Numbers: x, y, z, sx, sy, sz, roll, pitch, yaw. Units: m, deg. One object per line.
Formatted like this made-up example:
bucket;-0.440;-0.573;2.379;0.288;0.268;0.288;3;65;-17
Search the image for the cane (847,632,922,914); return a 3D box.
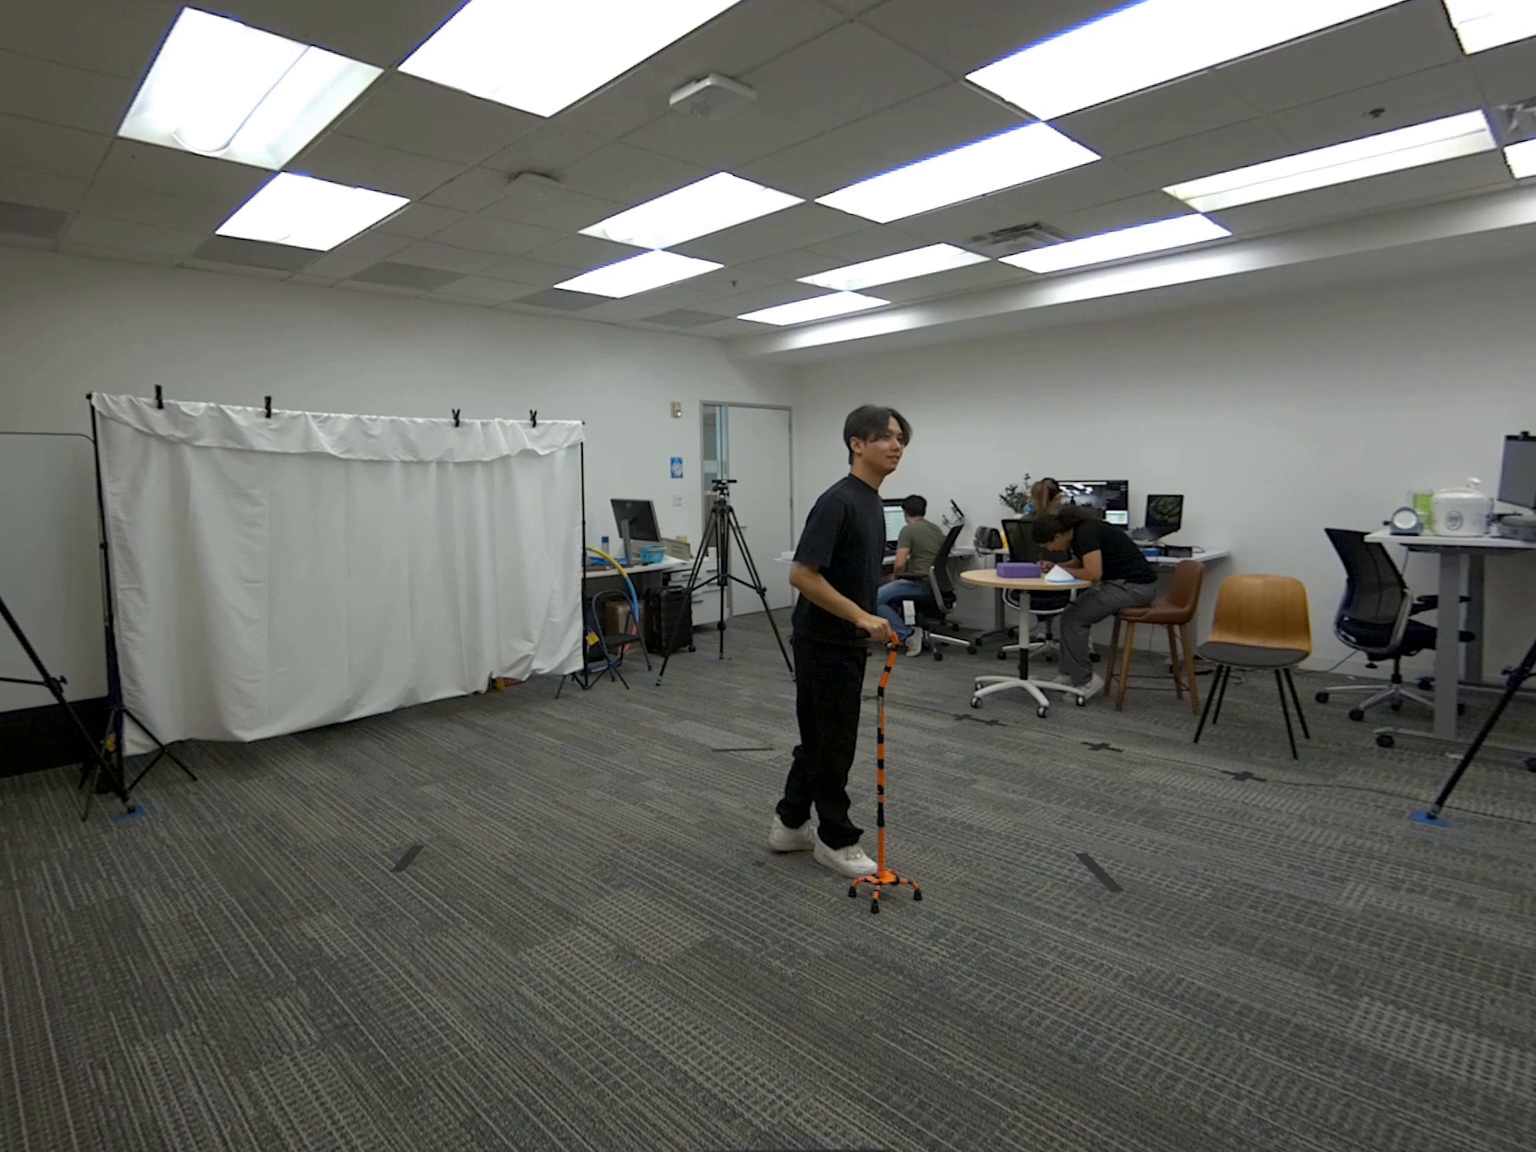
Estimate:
cane;0.393;0.620;2.810;0.201;0.904;0.156;-2;5;-30
